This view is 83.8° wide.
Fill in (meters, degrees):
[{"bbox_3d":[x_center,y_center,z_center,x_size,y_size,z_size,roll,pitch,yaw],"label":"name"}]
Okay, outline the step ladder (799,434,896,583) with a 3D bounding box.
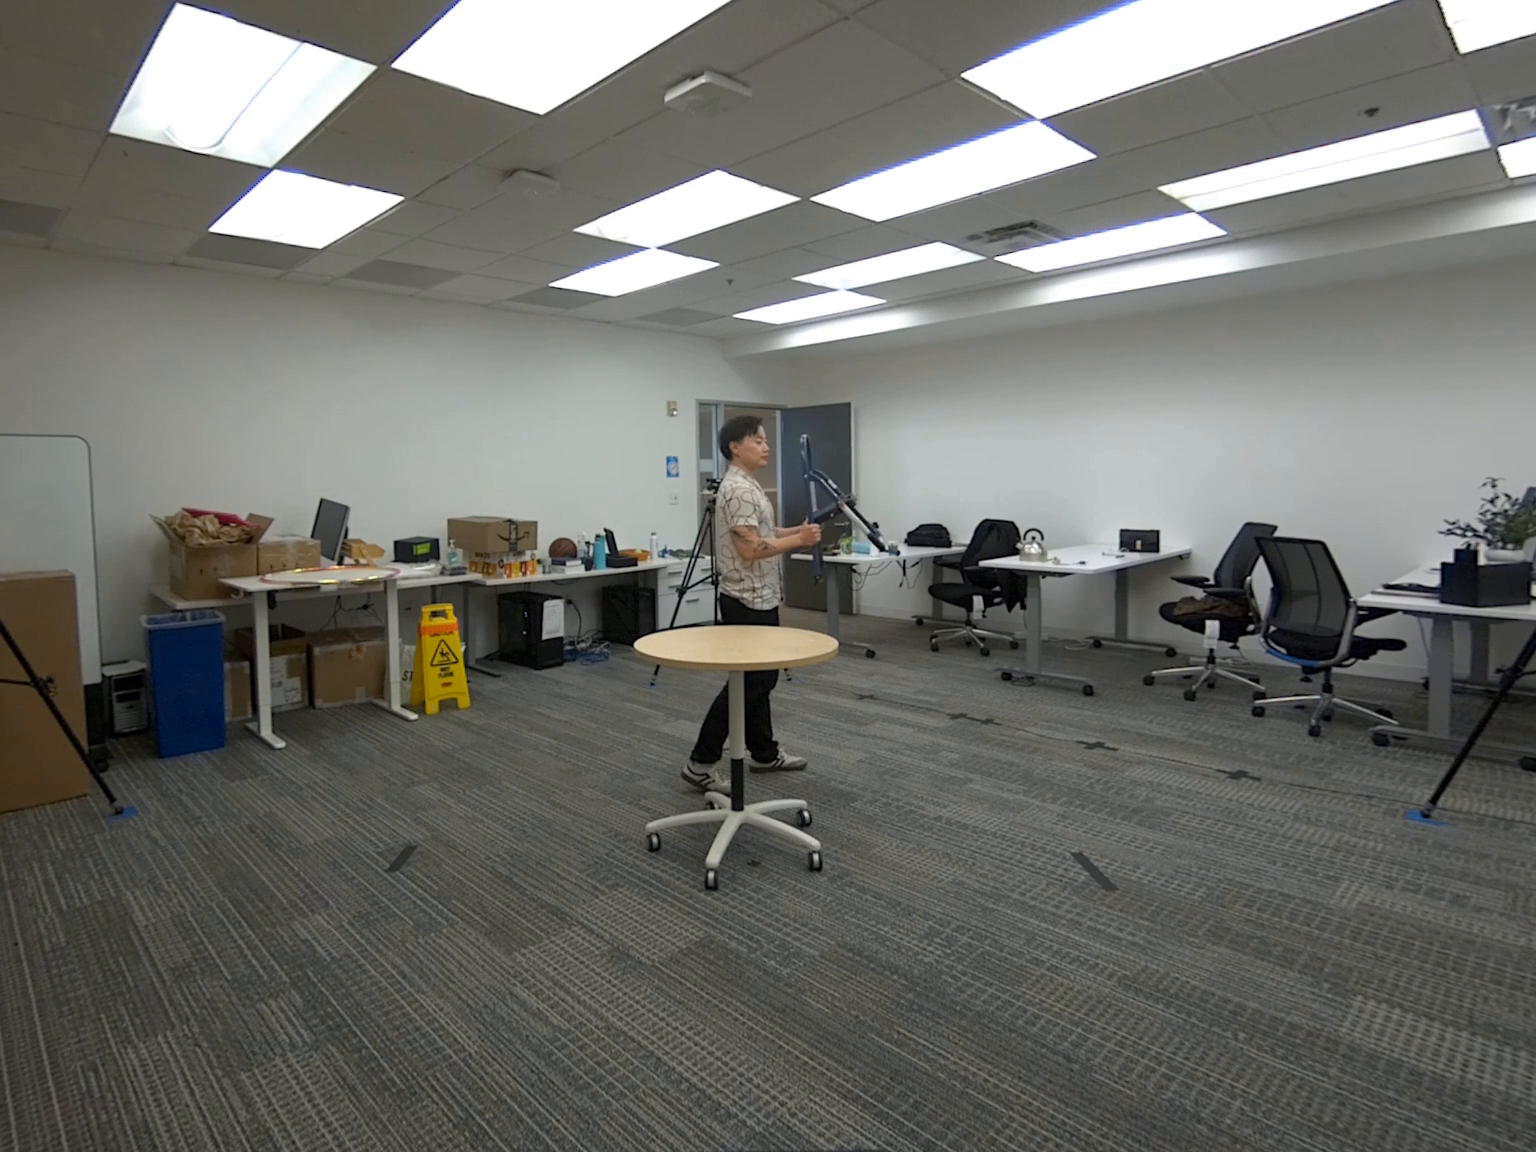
[{"bbox_3d":[0.235,-0.335,3.897,0.351,0.604,0.430,-27,4,9],"label":"step ladder"}]
